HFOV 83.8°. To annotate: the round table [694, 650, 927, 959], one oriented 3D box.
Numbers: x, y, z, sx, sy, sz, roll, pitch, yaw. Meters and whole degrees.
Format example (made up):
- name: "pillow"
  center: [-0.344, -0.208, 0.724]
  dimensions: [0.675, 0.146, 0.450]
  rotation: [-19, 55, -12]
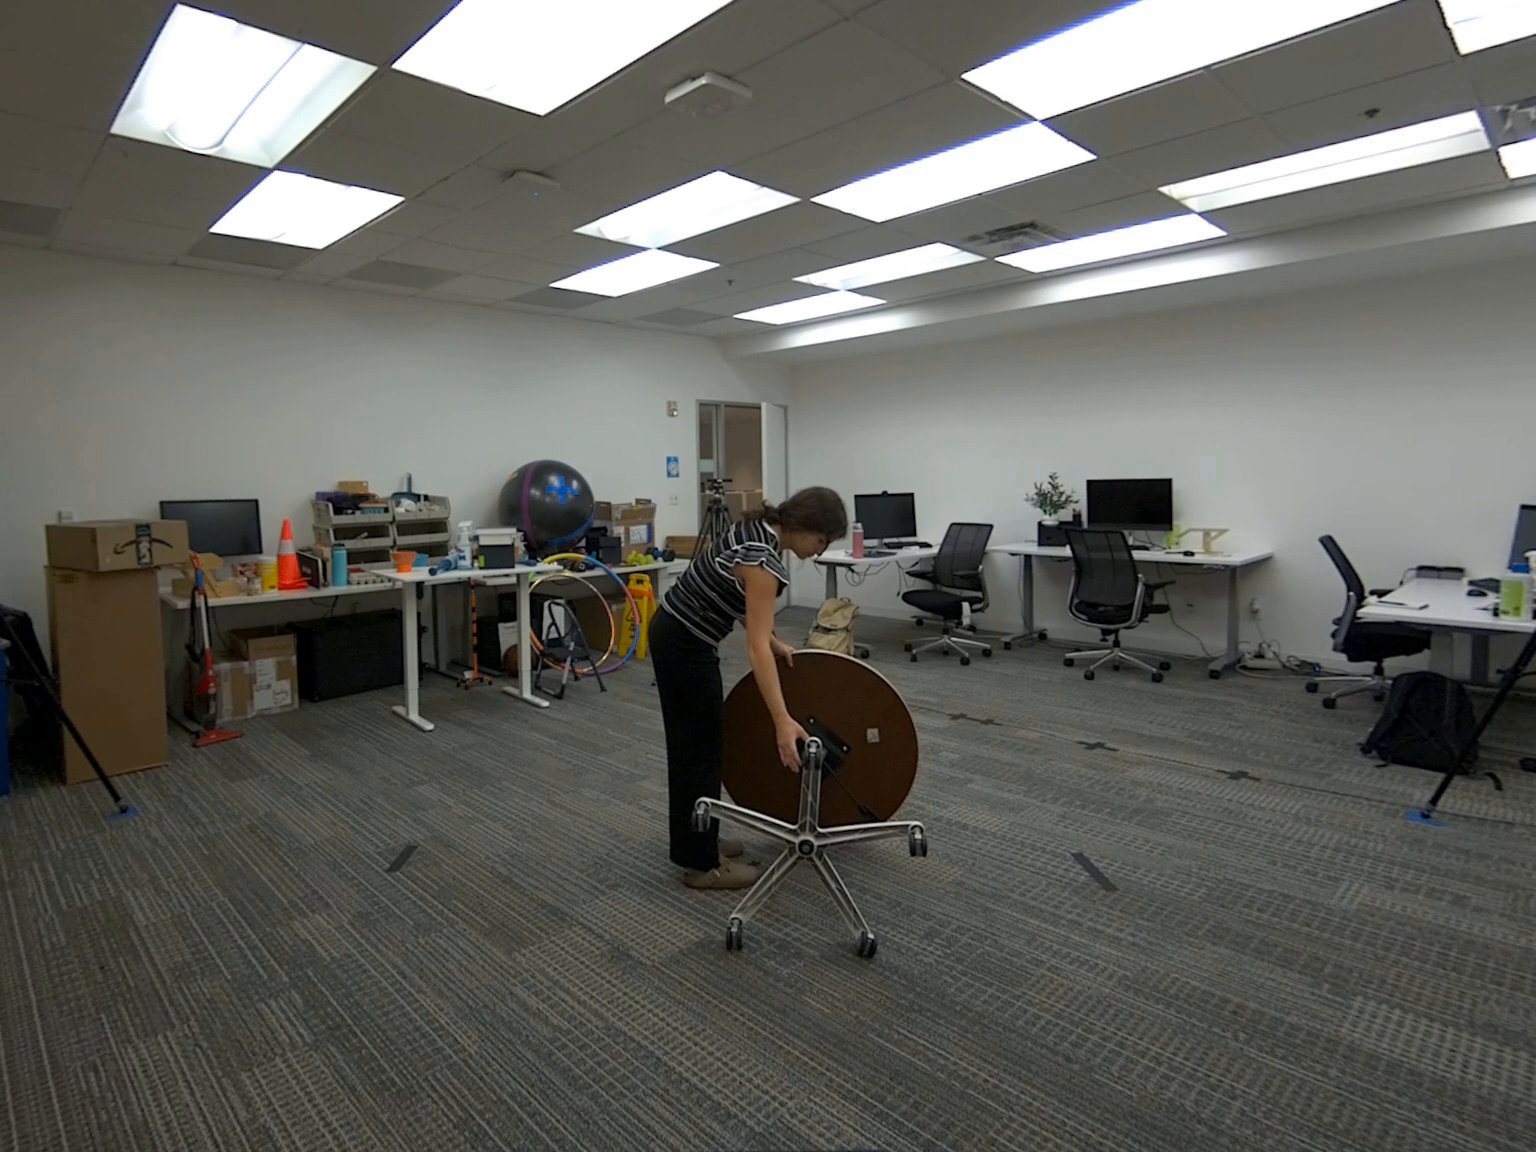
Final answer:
- name: "round table"
  center: [0.146, 0.742, 2.830]
  dimensions: [0.769, 0.756, 0.796]
  rotation: [0, 11, 6]
